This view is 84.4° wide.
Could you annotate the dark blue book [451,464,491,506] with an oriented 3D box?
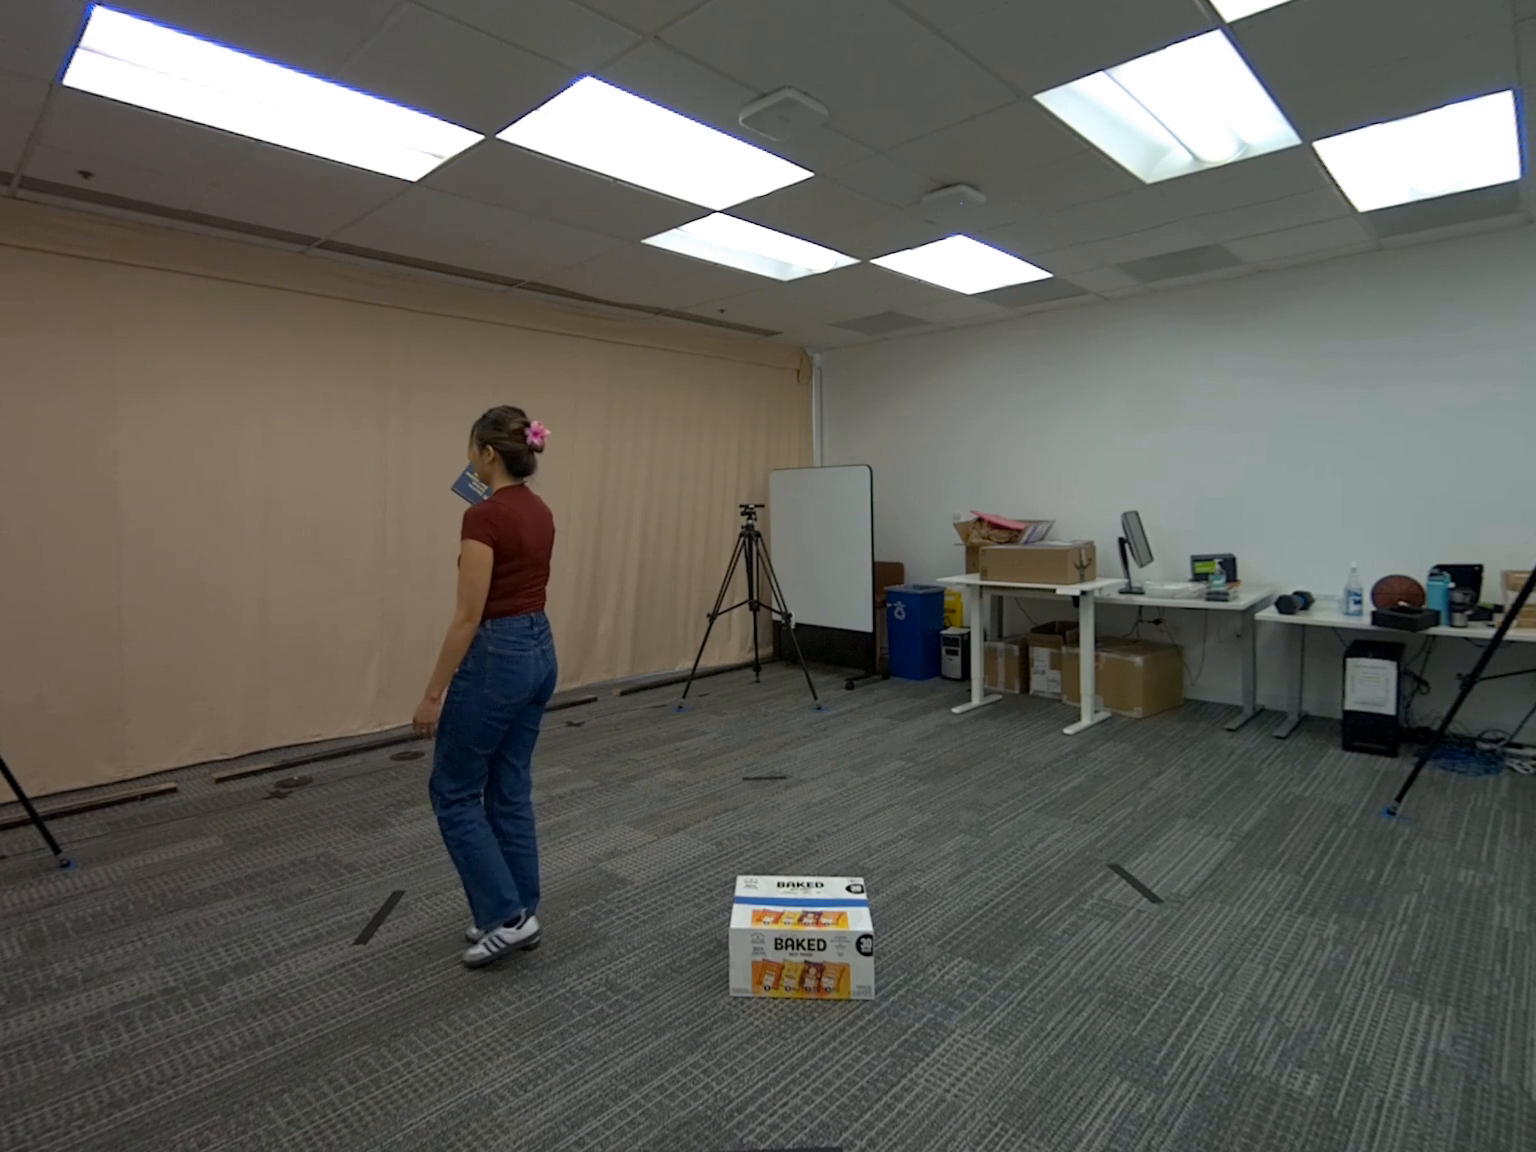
[{"bbox_3d":[-0.975,-0.359,2.964,0.160,0.245,0.046,36,-27,-14],"label":"dark blue book"}]
